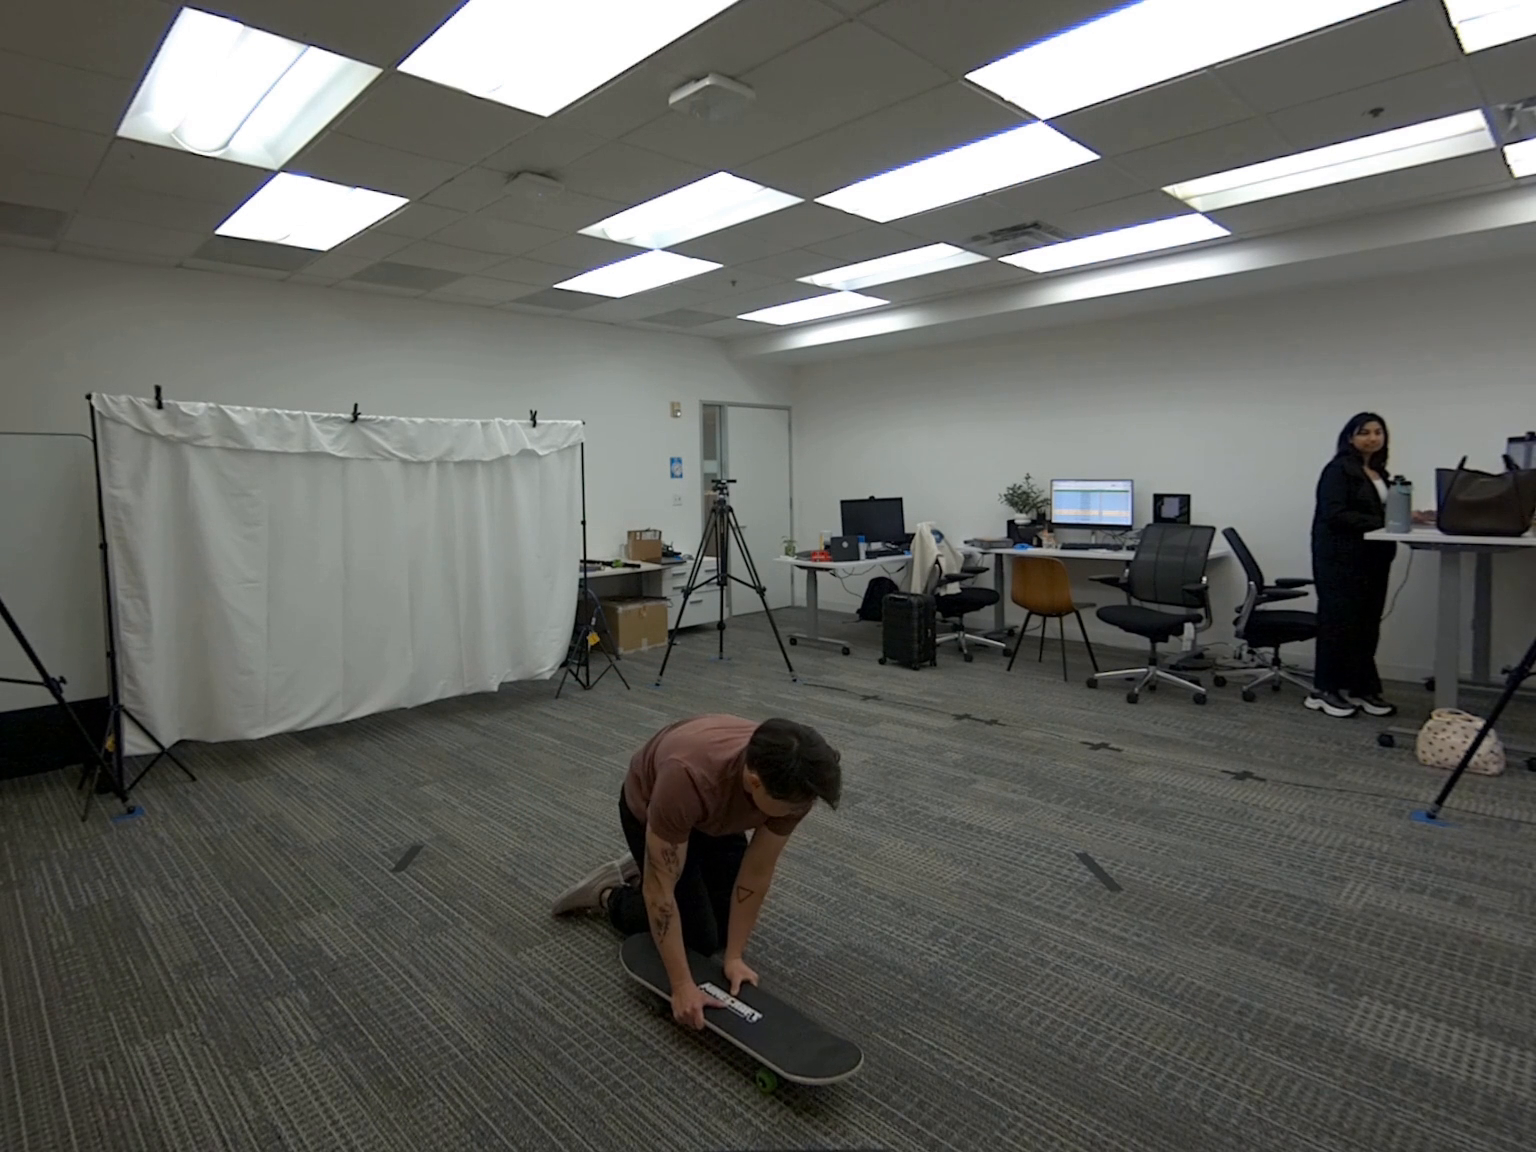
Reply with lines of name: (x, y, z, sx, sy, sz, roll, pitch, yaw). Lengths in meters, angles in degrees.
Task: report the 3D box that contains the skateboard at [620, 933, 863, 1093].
skateboard: (-0.088, 1.110, 2.153, 0.809, 0.110, 0.188, 3, 7, 44)
